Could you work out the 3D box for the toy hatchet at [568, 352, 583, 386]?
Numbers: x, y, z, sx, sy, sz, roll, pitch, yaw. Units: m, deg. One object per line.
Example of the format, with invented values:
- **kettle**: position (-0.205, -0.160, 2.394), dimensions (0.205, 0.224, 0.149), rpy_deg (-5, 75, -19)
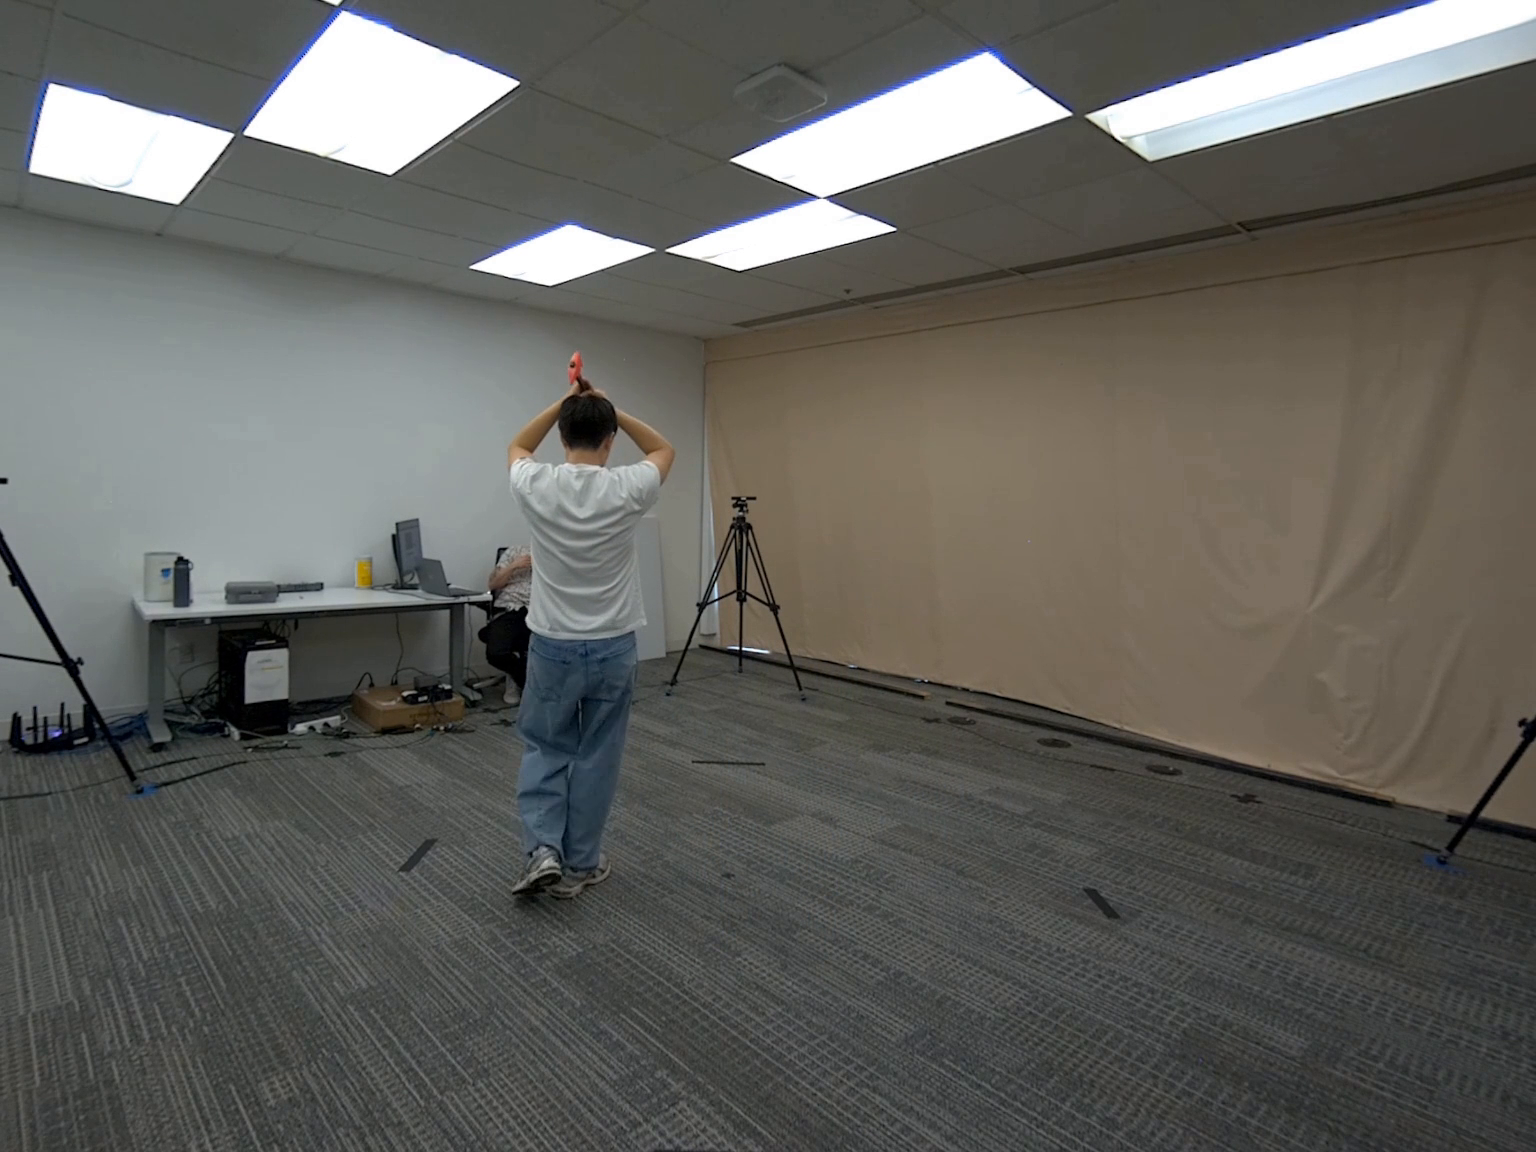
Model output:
- **toy hatchet**: position (-0.657, -0.699, 2.944), dimensions (0.030, 0.131, 0.268), rpy_deg (4, -3, 5)
